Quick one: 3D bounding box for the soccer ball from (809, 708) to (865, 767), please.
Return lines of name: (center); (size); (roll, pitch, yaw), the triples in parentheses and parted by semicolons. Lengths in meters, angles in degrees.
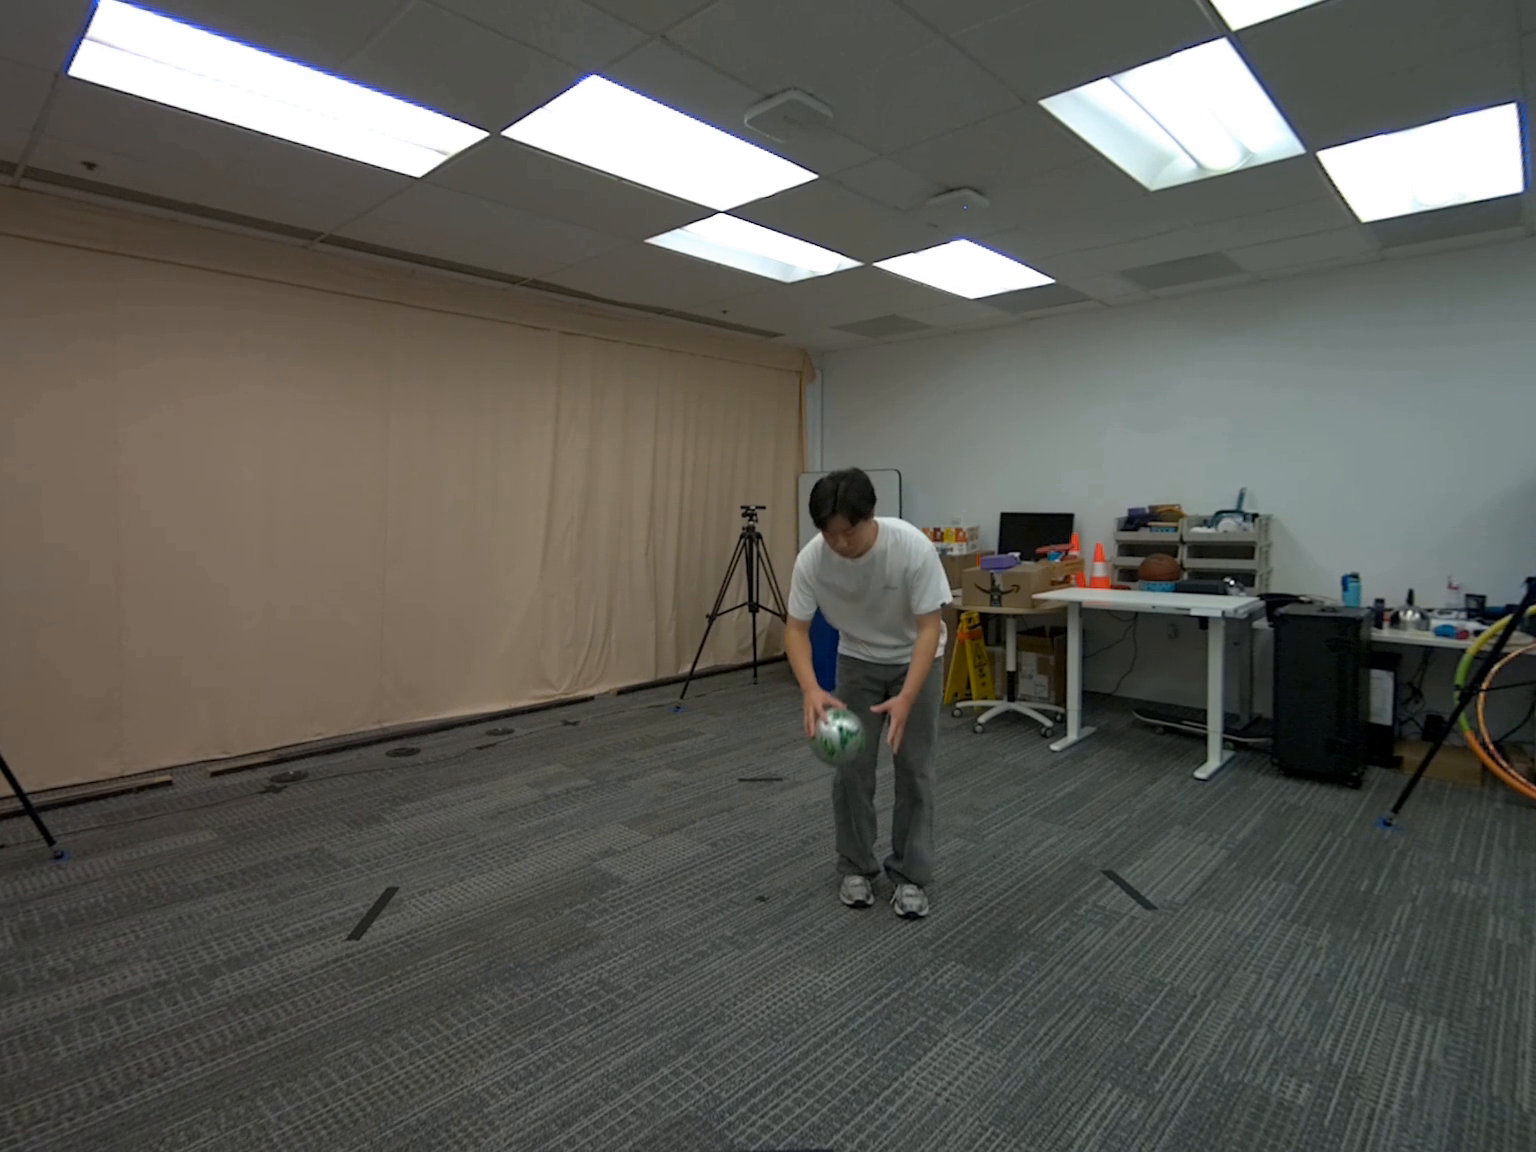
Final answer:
soccer ball: (0.246, 0.507, 2.716); (0.187, 0.187, 0.188); (0, 4, -2)
